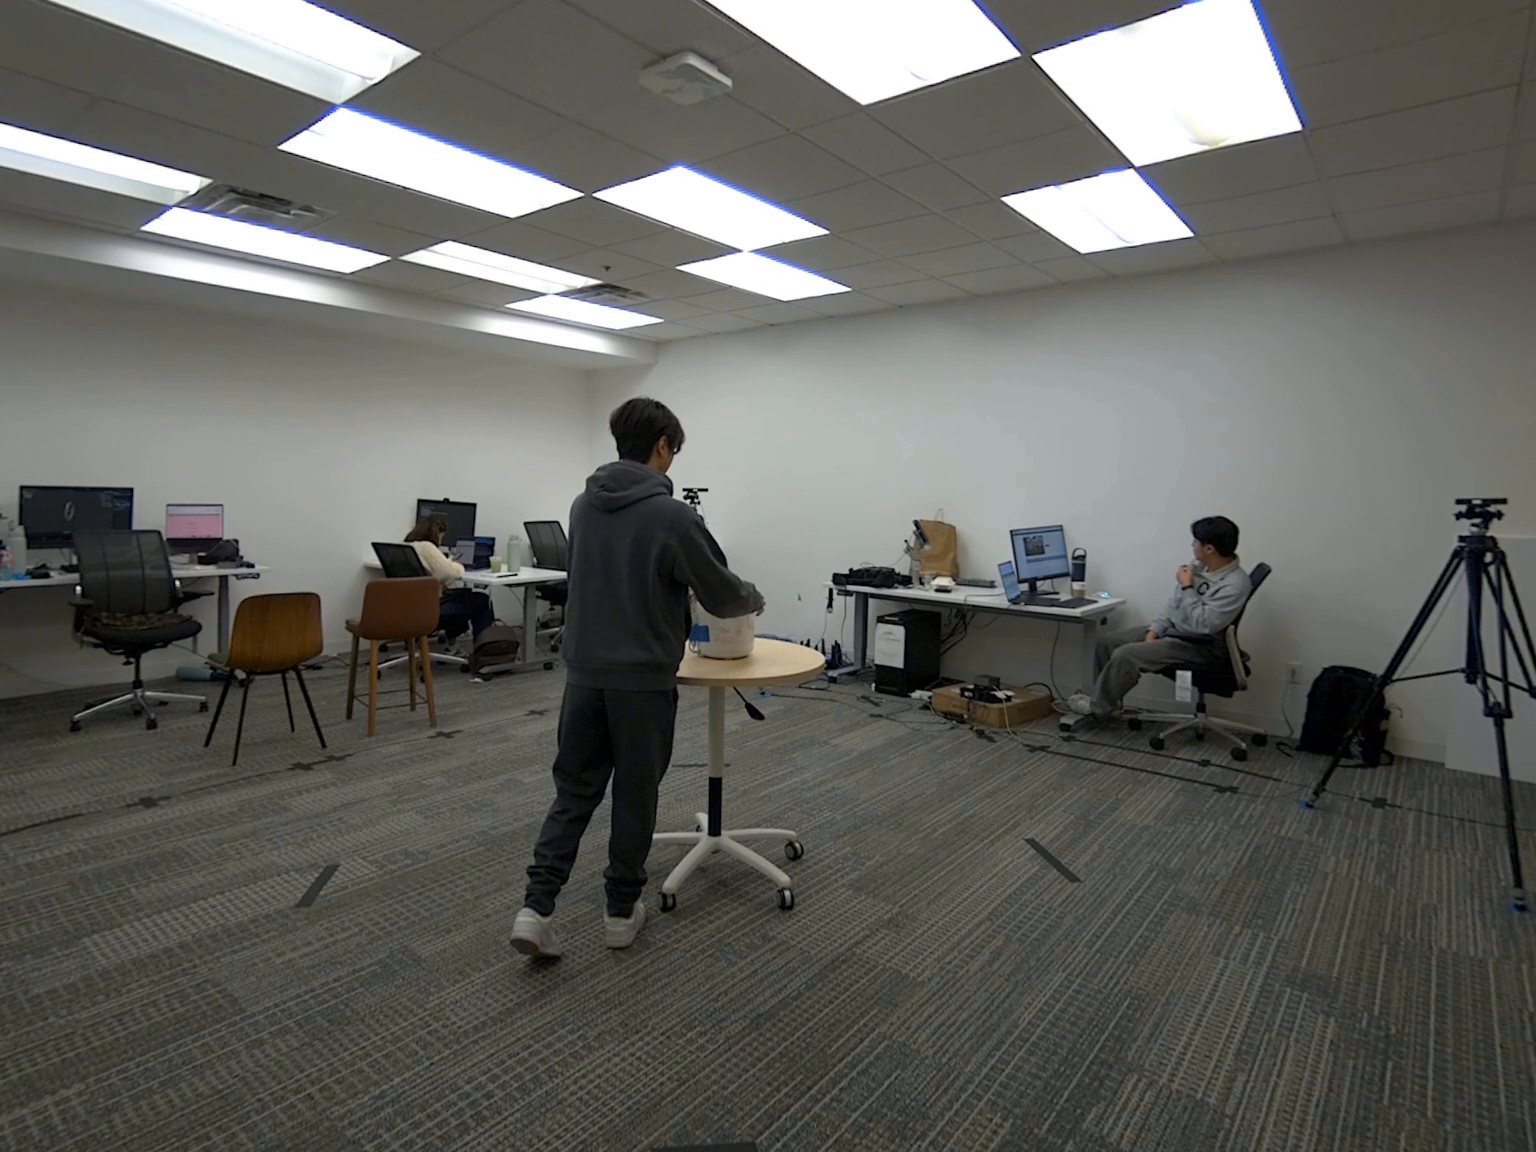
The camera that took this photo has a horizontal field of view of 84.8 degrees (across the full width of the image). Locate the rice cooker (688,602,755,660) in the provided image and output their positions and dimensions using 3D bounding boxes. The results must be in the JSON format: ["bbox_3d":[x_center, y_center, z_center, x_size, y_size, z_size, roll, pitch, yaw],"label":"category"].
[{"bbox_3d":[-0.162,0.160,3.038,0.227,0.231,0.212,4,8,28],"label":"rice cooker"}]
